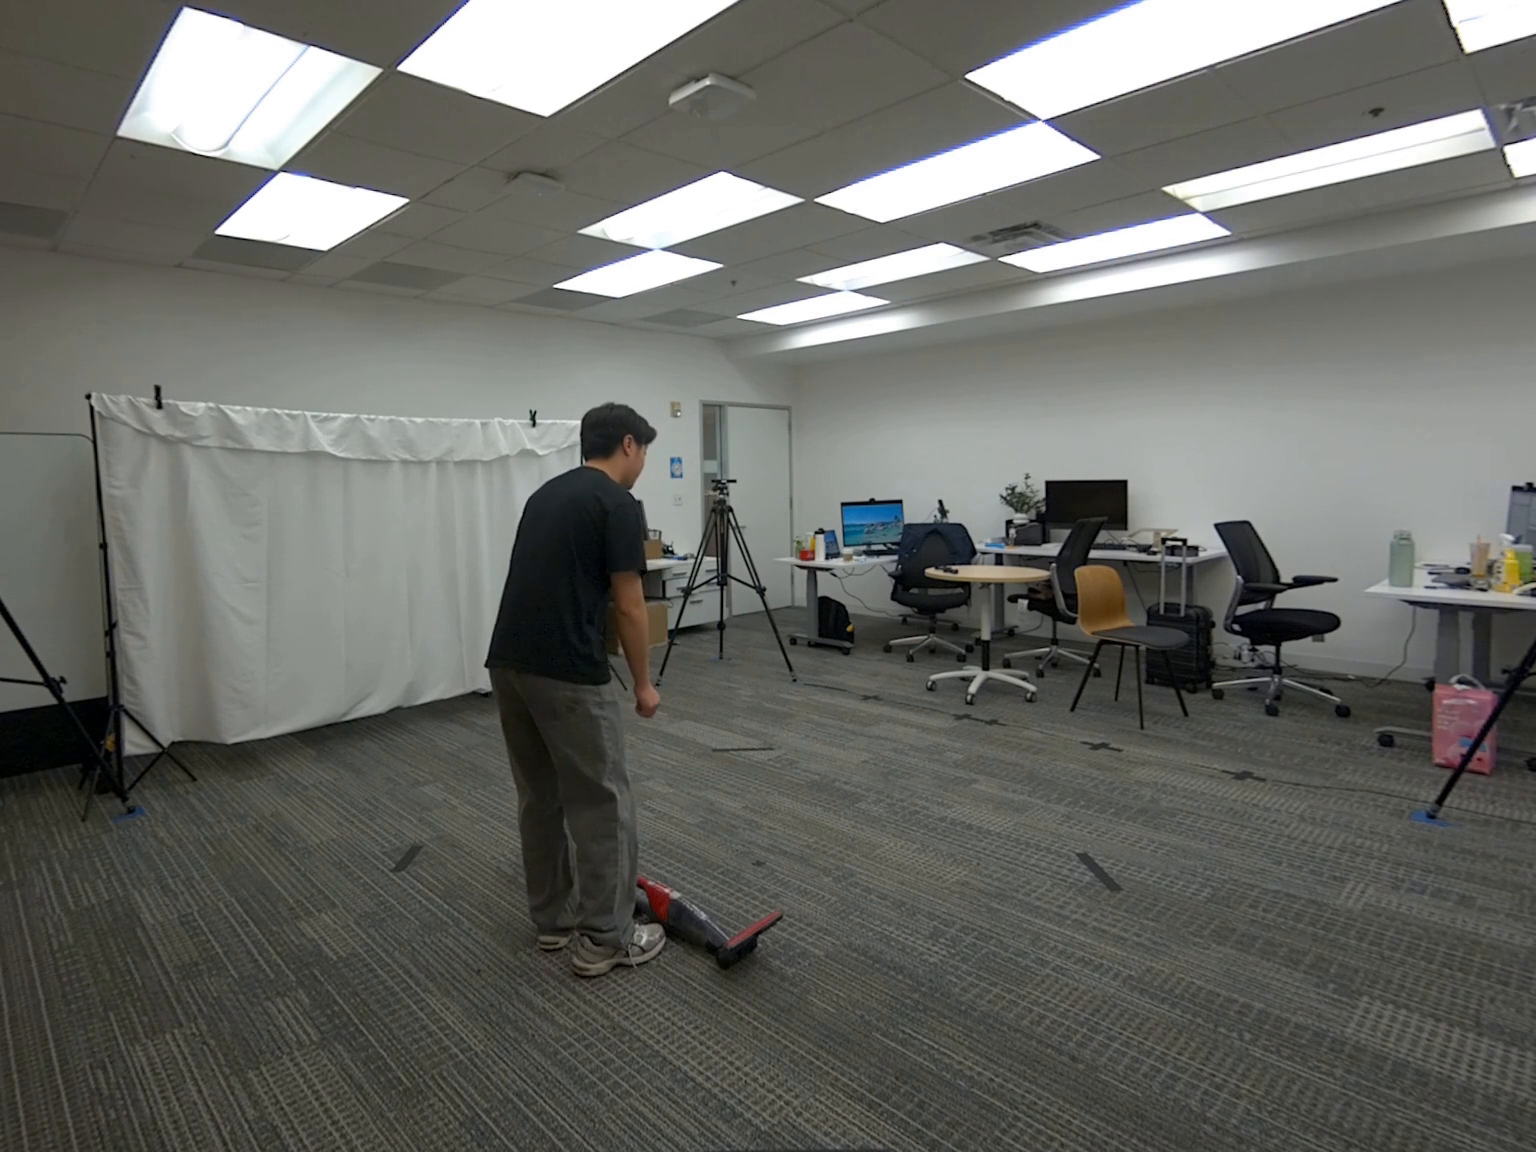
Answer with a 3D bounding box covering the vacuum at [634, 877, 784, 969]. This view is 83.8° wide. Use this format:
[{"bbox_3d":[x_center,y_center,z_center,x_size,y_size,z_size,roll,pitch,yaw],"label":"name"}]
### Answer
[{"bbox_3d":[-0.463,1.028,2.805,1.081,0.143,0.247,4,11,39],"label":"vacuum"}]
